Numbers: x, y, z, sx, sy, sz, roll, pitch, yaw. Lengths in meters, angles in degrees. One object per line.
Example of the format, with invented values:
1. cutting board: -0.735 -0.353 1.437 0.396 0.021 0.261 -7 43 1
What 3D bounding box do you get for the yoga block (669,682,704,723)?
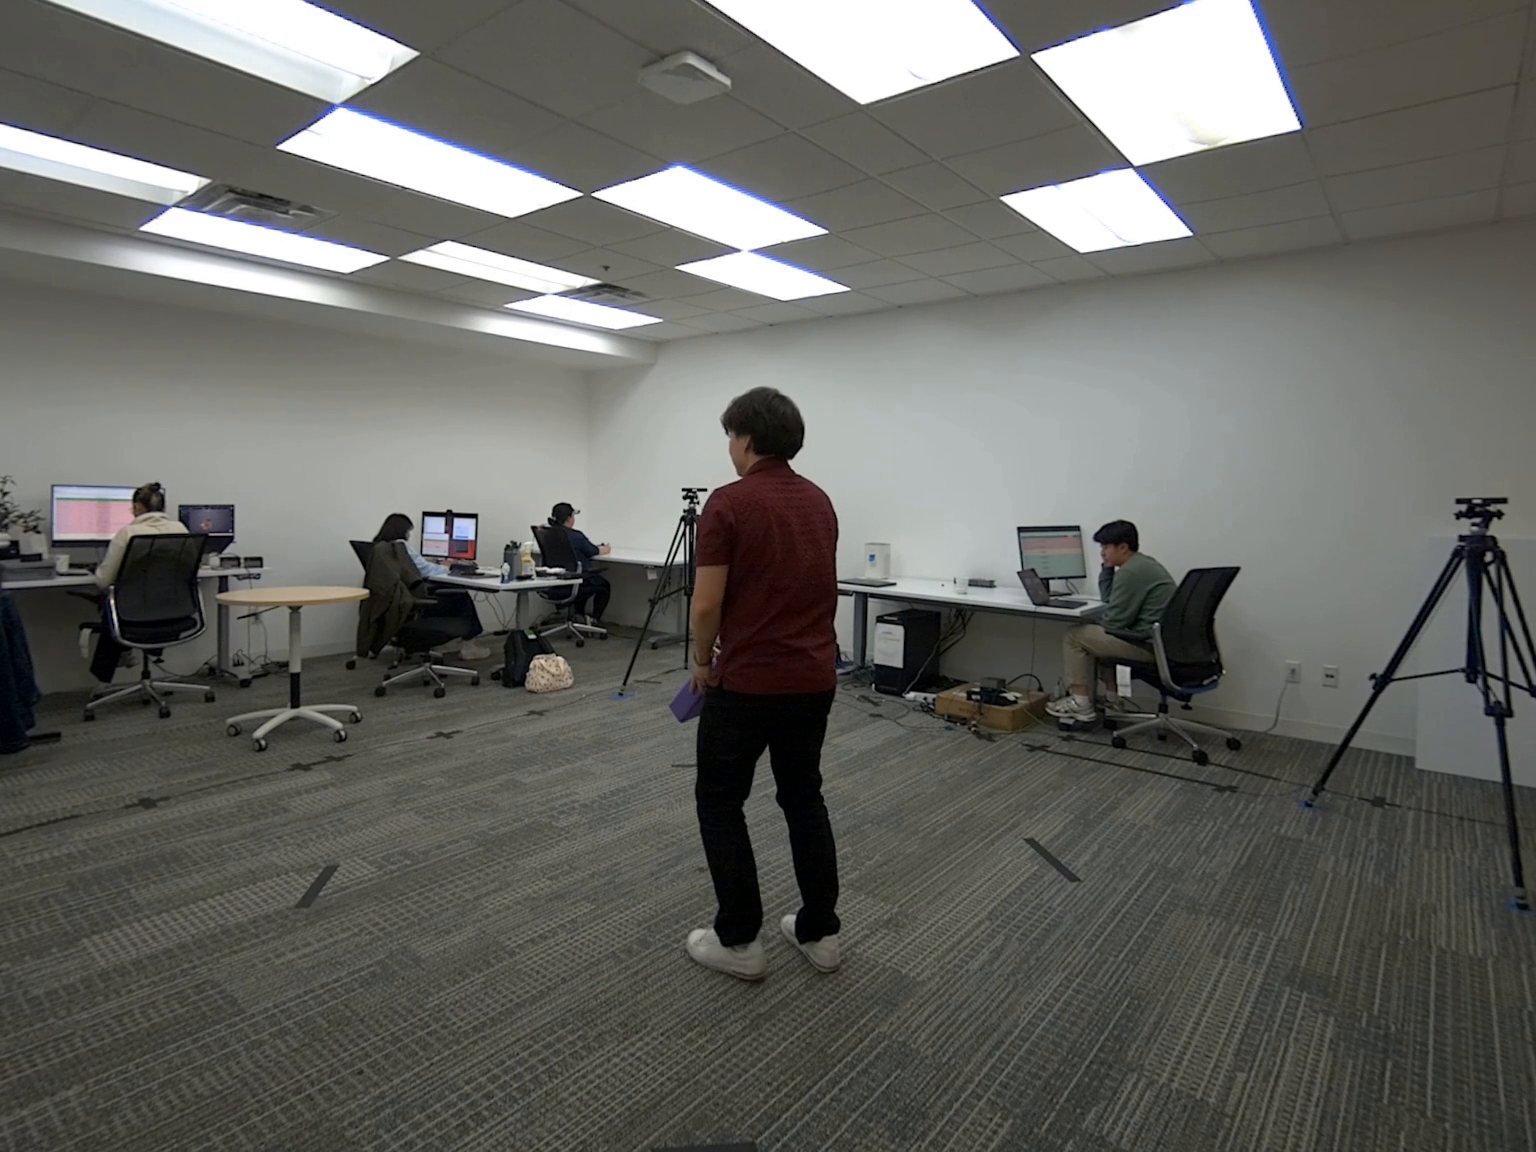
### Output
1. yoga block: -0.241 0.340 2.692 0.145 0.079 0.228 -12 -34 -46
